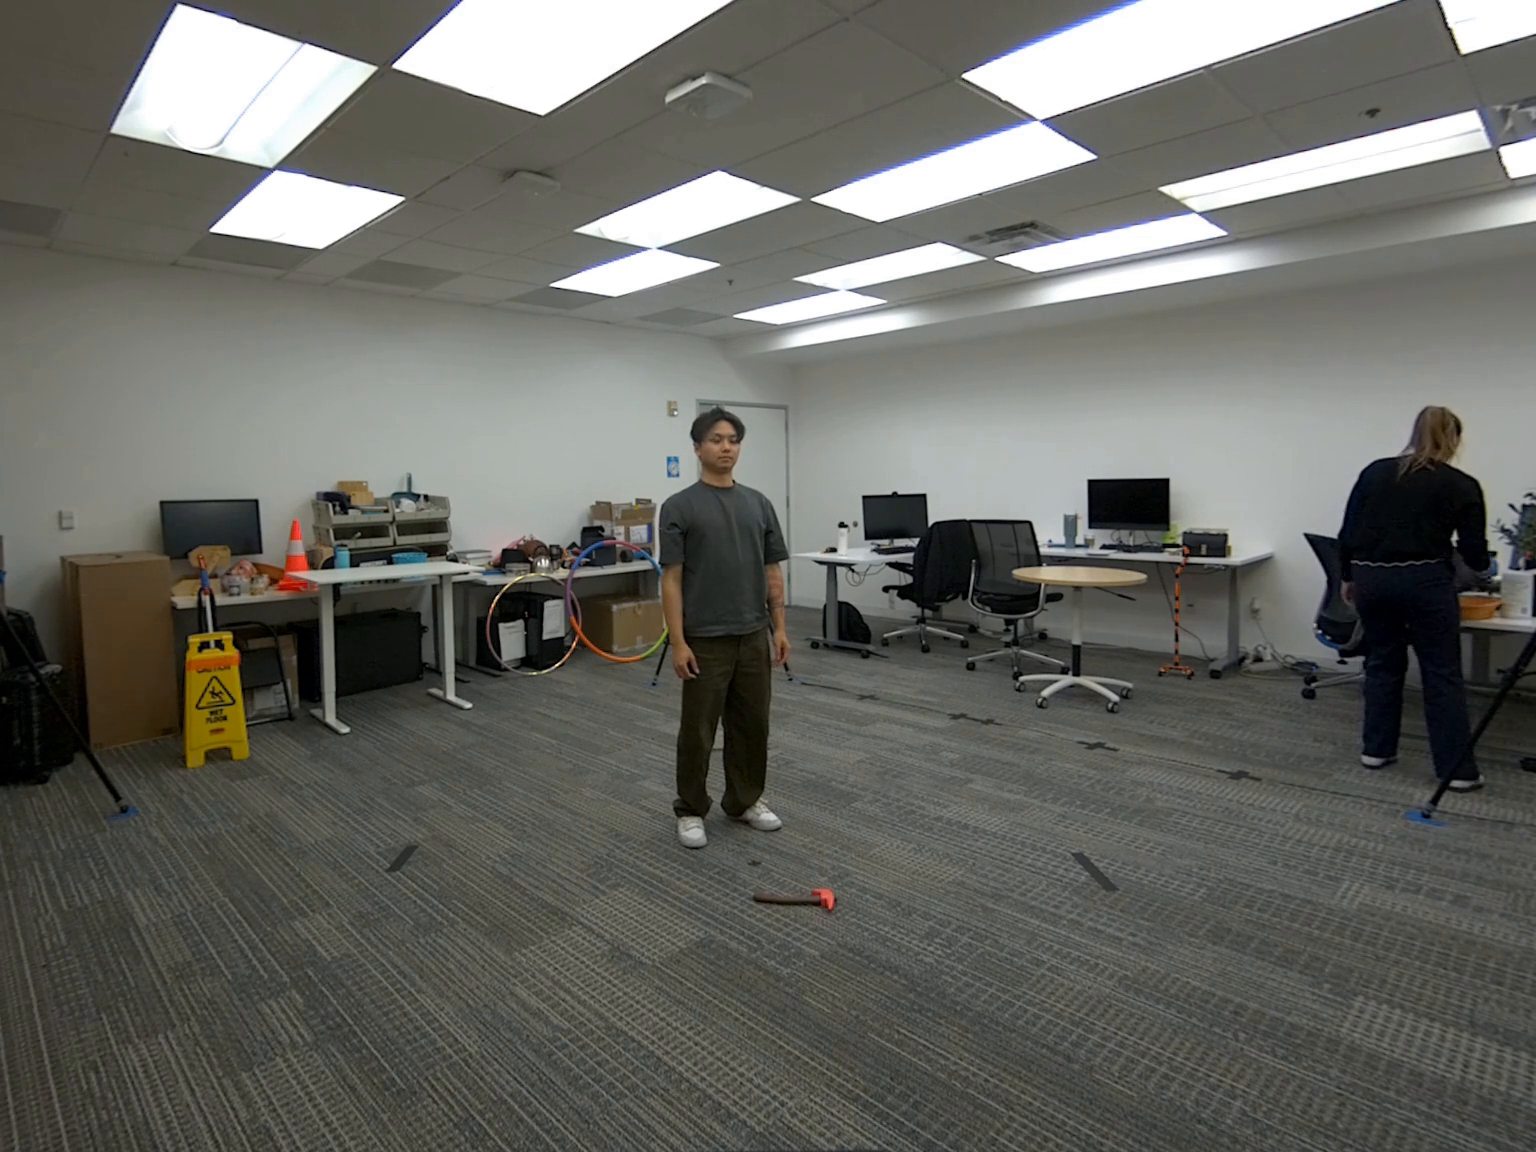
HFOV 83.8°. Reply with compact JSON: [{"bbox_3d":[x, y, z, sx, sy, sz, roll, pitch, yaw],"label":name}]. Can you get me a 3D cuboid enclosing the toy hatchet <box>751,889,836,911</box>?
[{"bbox_3d":[0.097,1.060,2.838,0.275,0.029,0.129,0,8,19],"label":"toy hatchet"}]
